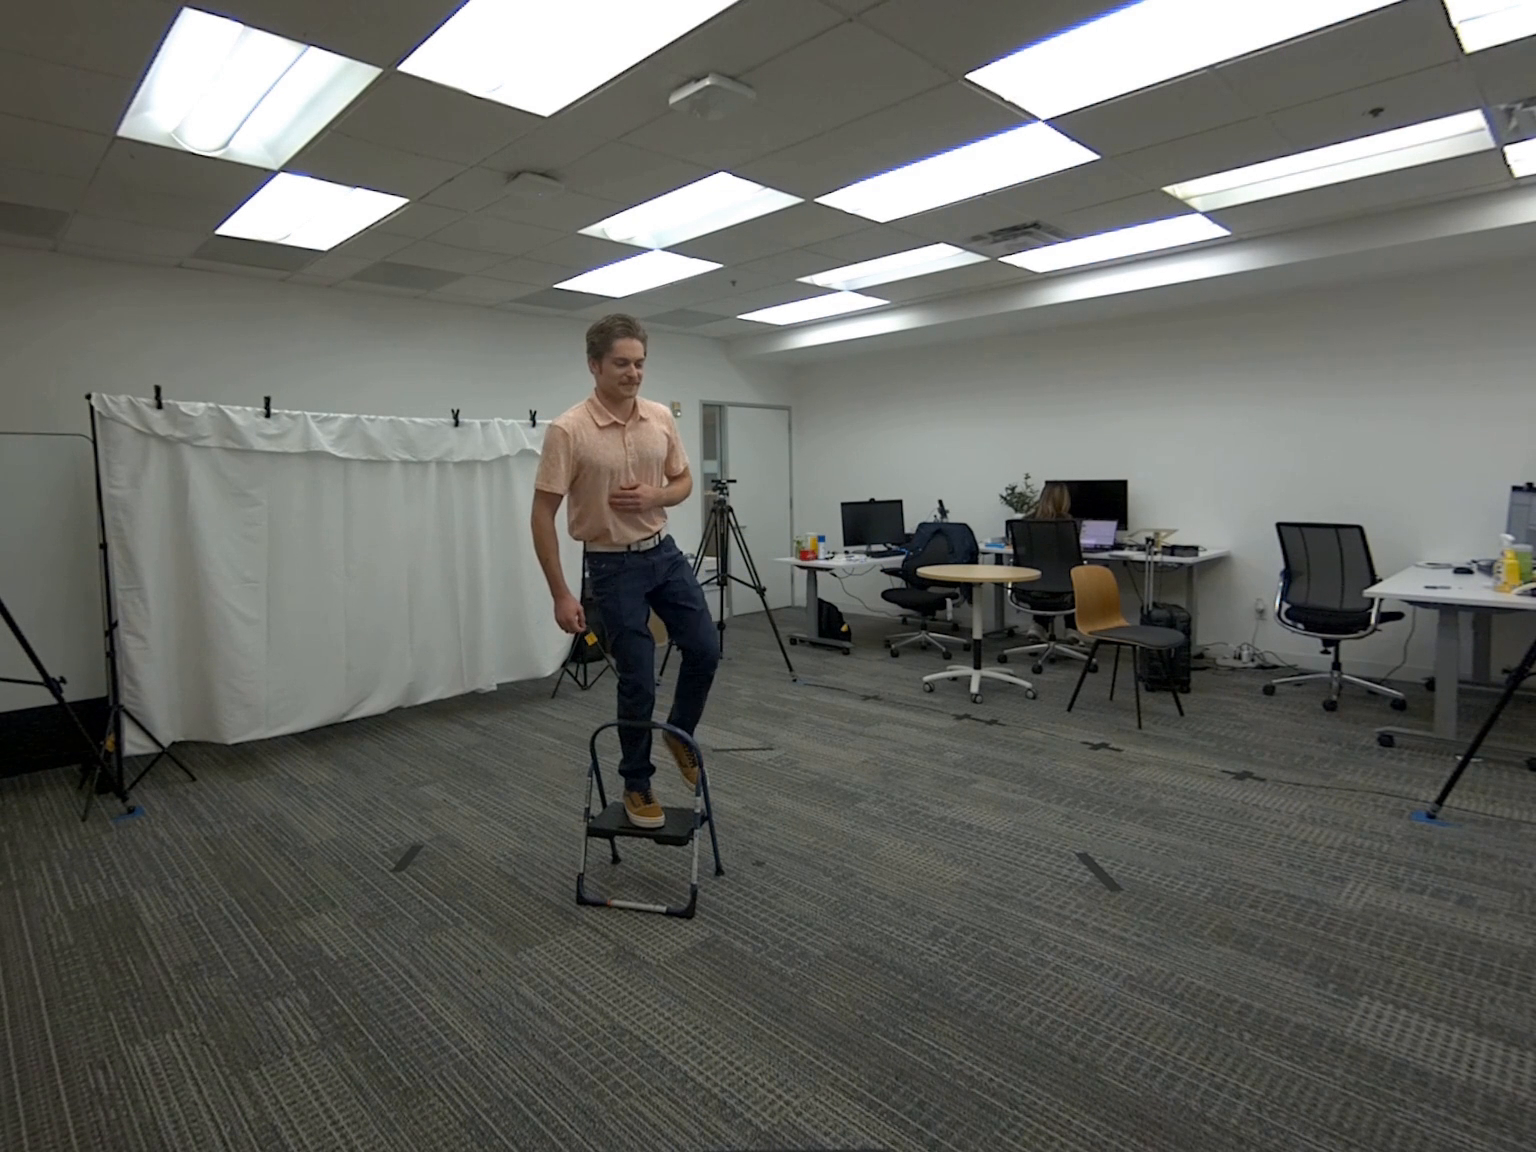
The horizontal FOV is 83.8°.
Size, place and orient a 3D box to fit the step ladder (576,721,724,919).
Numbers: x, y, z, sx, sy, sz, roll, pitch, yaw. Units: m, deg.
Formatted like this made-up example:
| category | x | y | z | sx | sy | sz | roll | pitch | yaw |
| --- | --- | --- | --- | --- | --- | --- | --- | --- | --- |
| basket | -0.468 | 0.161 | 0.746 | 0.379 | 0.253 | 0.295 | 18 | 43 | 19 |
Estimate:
| category | x | y | z | sx | sy | sz | roll | pitch | yaw |
| --- | --- | --- | --- | --- | --- | --- | --- | --- | --- |
| step ladder | -0.407 | 0.778 | 2.919 | 0.437 | 0.603 | 0.346 | 0 | 5 | 14 |
